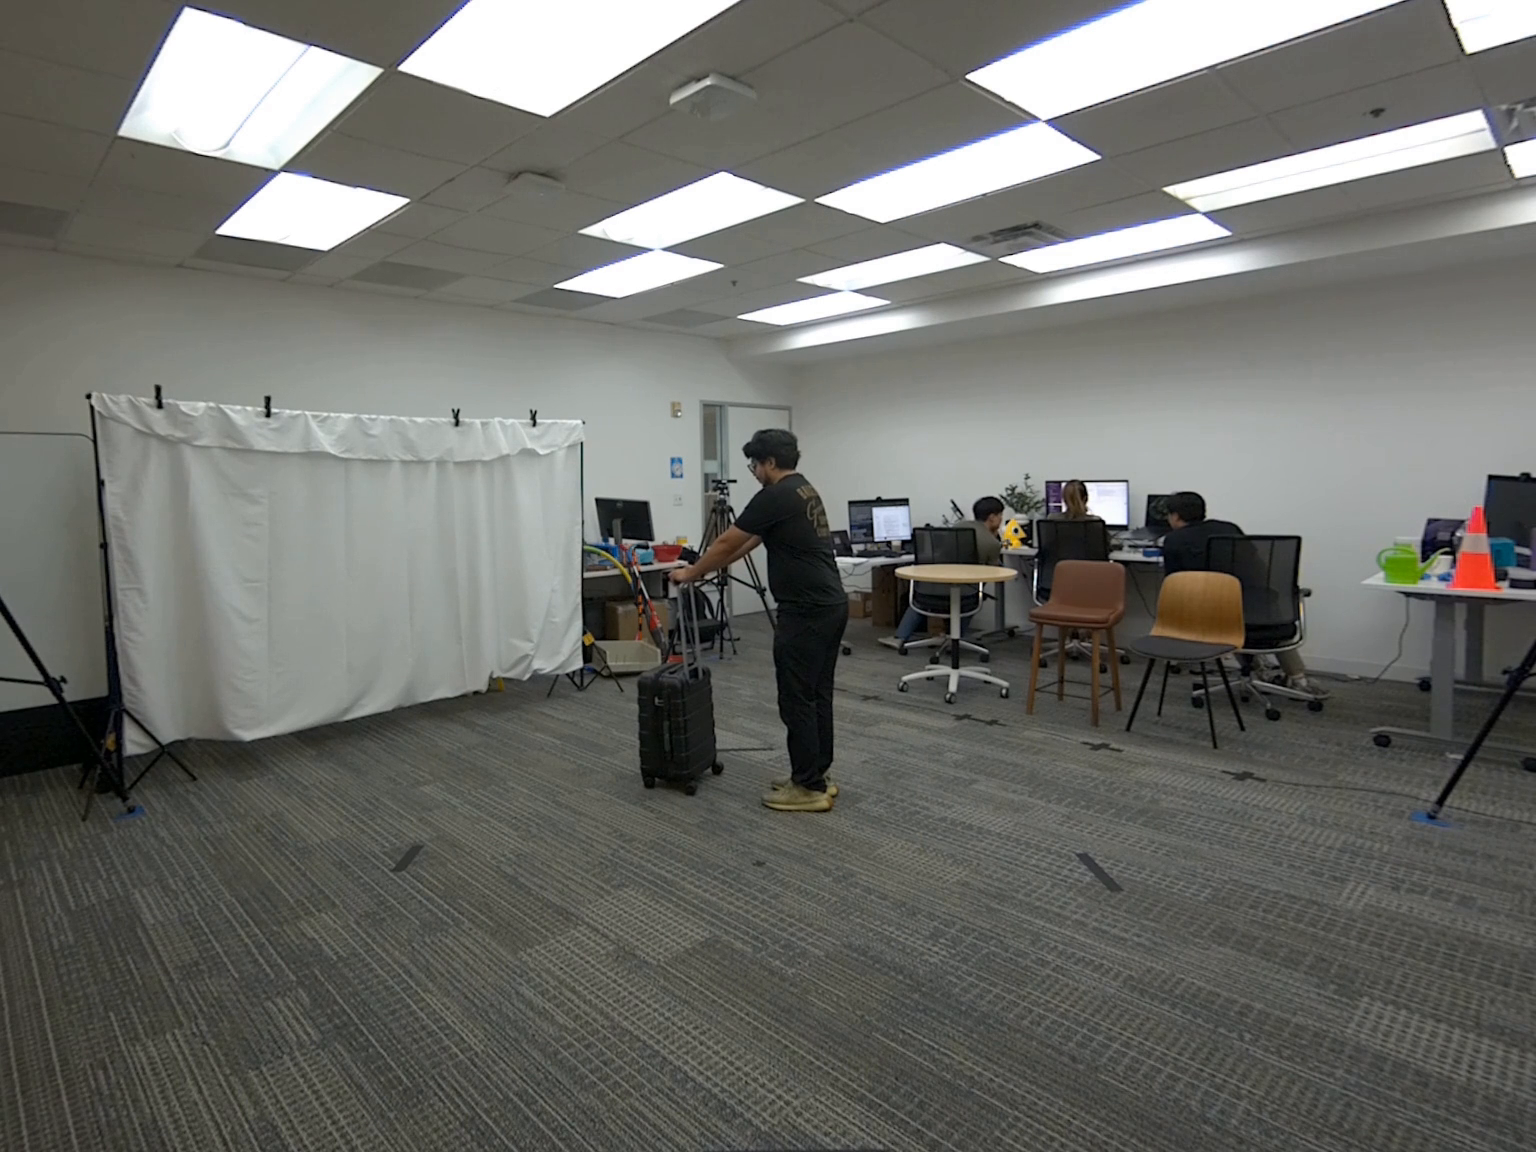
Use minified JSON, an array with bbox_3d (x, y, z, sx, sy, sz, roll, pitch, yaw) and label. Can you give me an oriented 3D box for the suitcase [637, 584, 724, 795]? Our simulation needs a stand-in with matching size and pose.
[{"bbox_3d":[-0.434,0.485,3.980,0.262,0.976,0.378,-3,3,22],"label":"suitcase"}]
